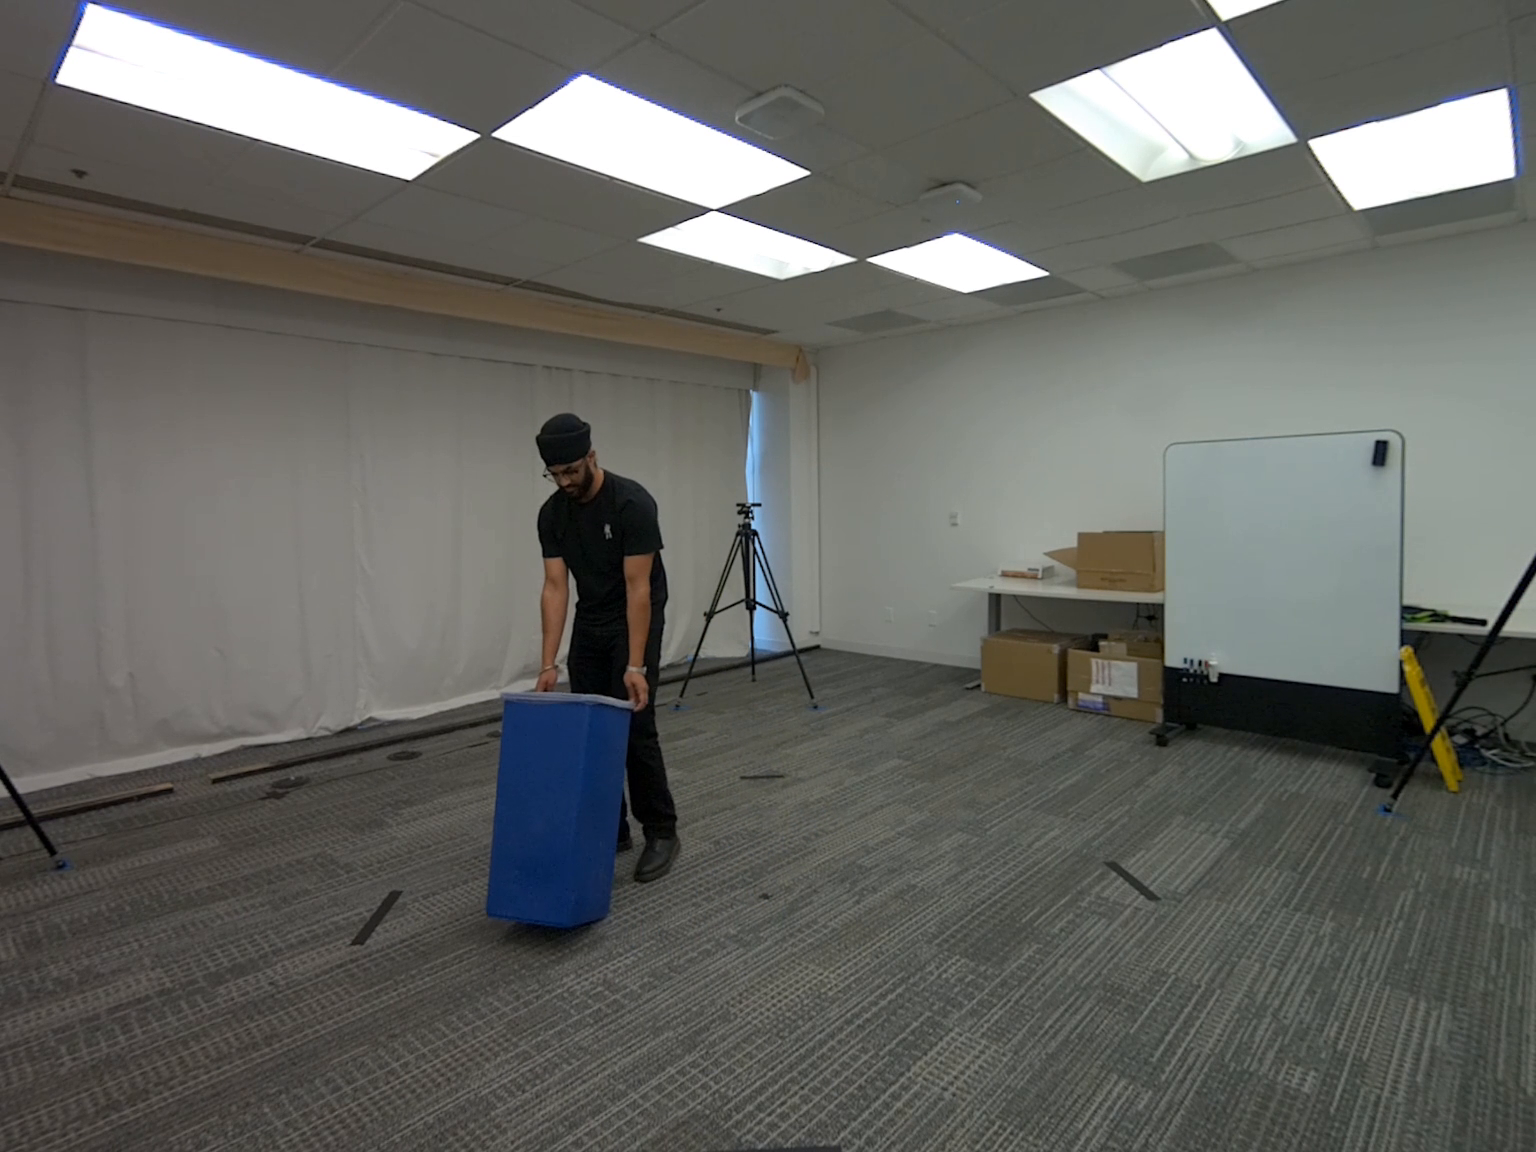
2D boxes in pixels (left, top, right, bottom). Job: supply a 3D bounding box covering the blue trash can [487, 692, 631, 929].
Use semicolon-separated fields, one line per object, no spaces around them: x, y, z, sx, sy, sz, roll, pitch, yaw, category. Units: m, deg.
-0.708;0.774;2.877;0.385;0.719;0.364;-2;-15;18;blue trash can
